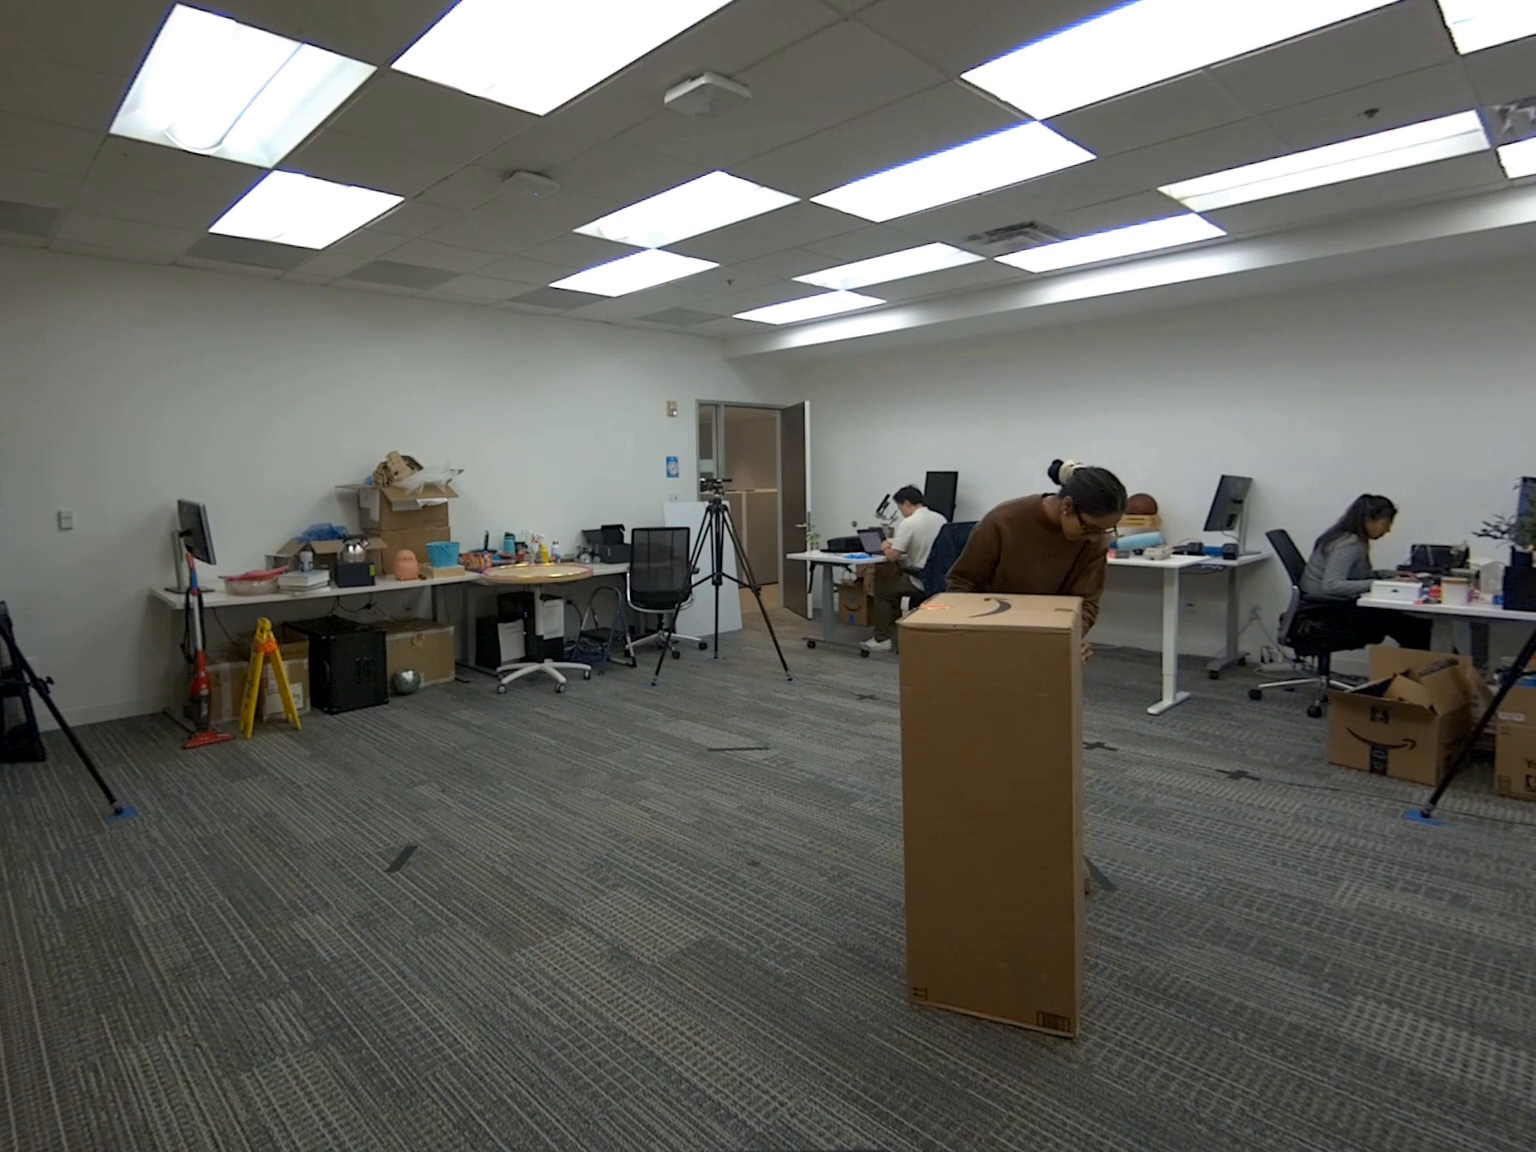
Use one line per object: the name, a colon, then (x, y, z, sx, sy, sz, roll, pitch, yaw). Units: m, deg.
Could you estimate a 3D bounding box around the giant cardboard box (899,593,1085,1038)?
giant cardboard box: (0.646, 0.600, 2.409, 0.435, 1.022, 0.567, -1, 4, 24)
